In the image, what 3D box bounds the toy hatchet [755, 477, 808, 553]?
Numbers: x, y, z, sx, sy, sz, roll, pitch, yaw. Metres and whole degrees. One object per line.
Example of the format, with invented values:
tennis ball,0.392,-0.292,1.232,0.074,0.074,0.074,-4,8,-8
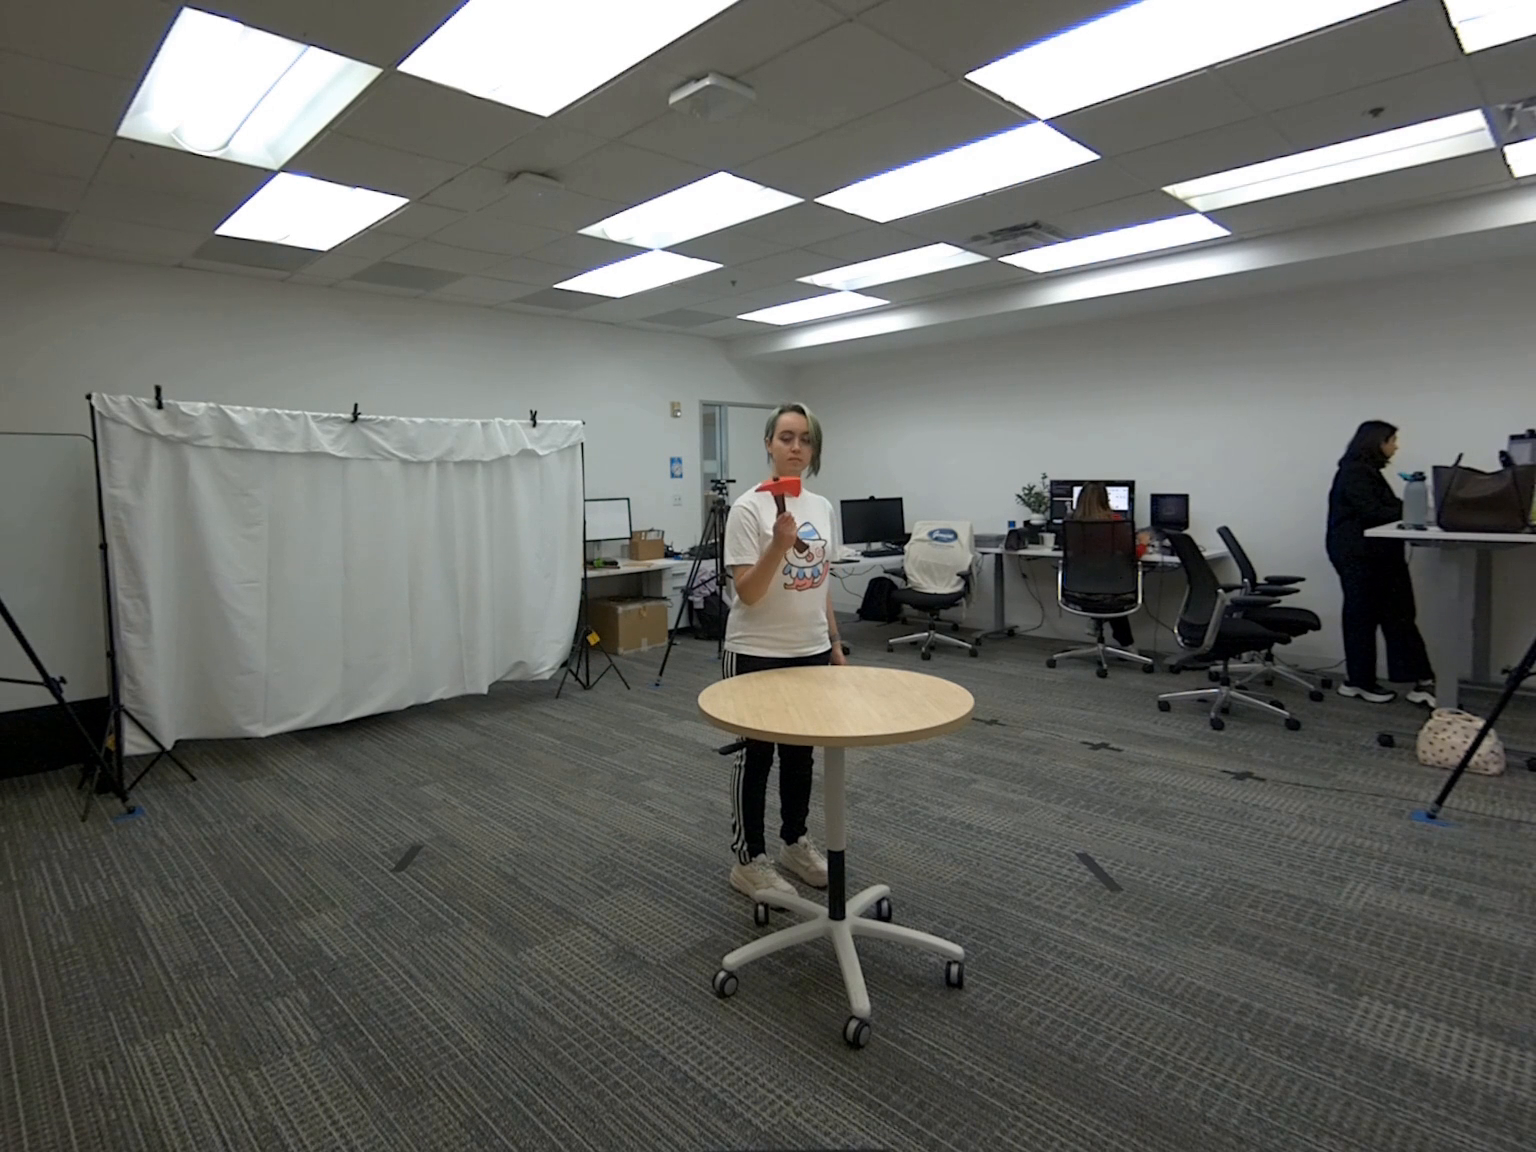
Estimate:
toy hatchet,0.073,-0.192,2.535,0.131,0.261,0.030,-31,29,11
